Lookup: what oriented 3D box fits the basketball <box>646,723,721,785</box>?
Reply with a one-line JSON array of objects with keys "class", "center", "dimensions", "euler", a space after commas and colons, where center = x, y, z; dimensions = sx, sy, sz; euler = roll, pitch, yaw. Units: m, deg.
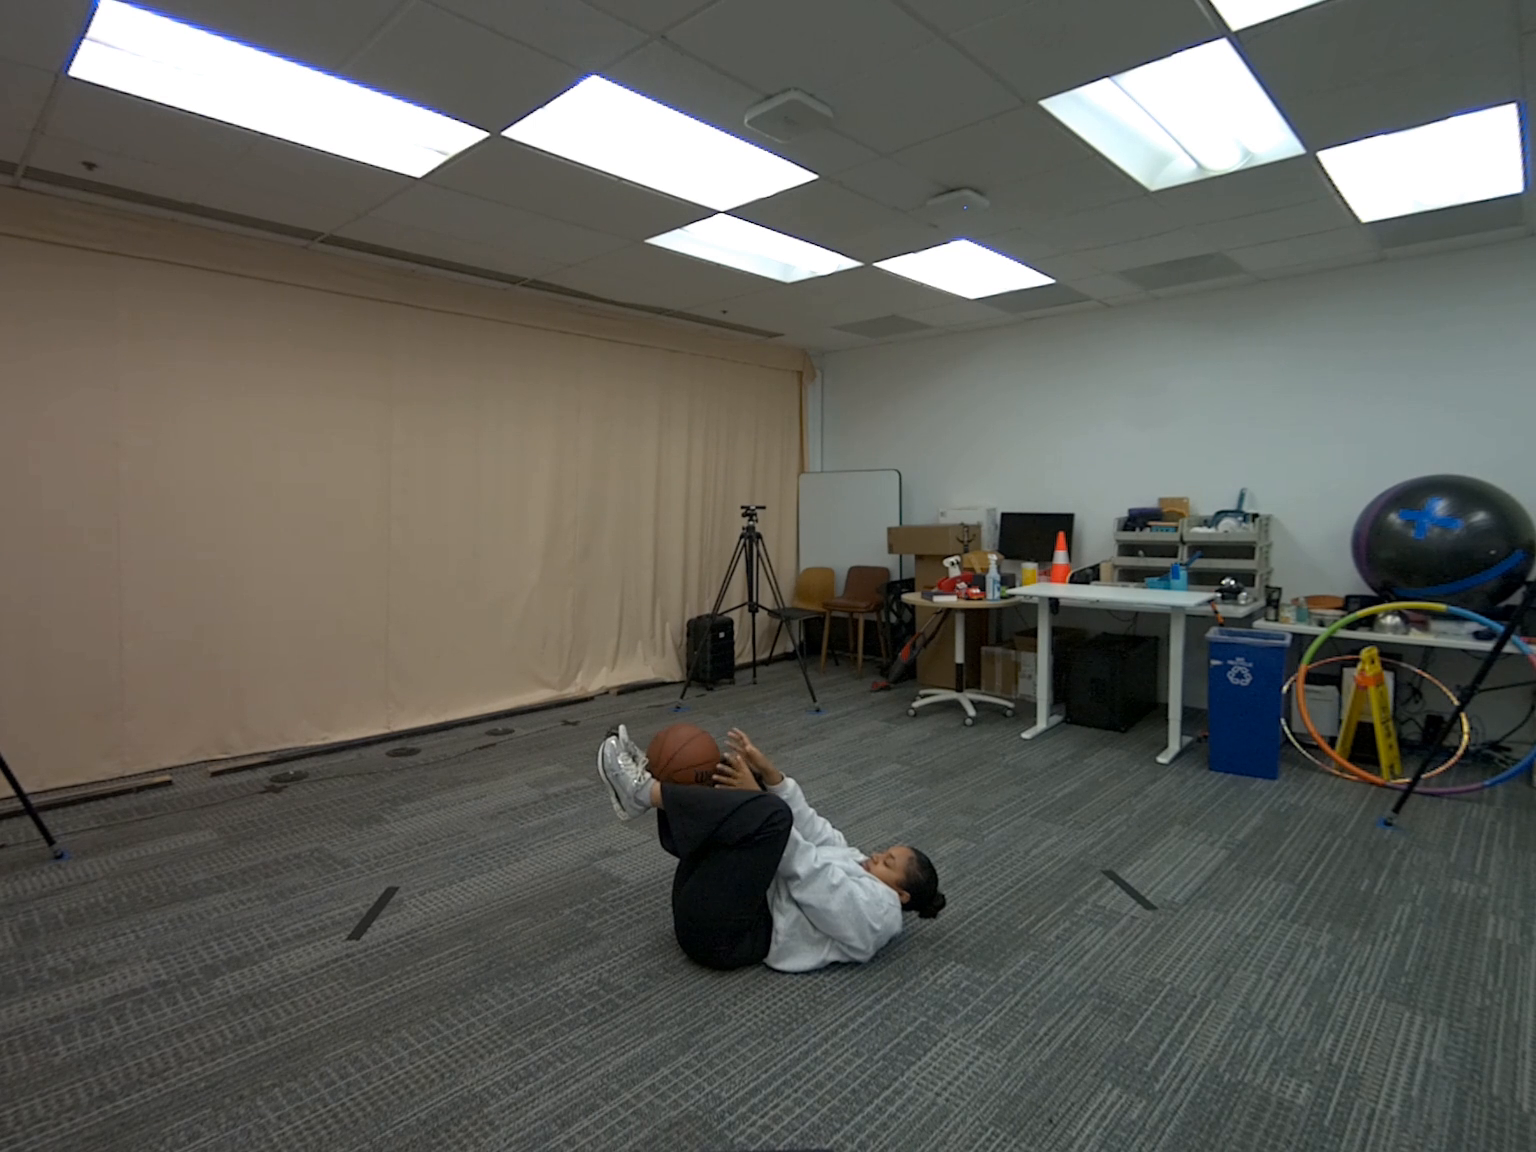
[{"class": "basketball", "center": [-0.271, 0.587, 2.645], "dimensions": [0.236, 0.235, 0.237], "euler": [0, 4, -2]}]
